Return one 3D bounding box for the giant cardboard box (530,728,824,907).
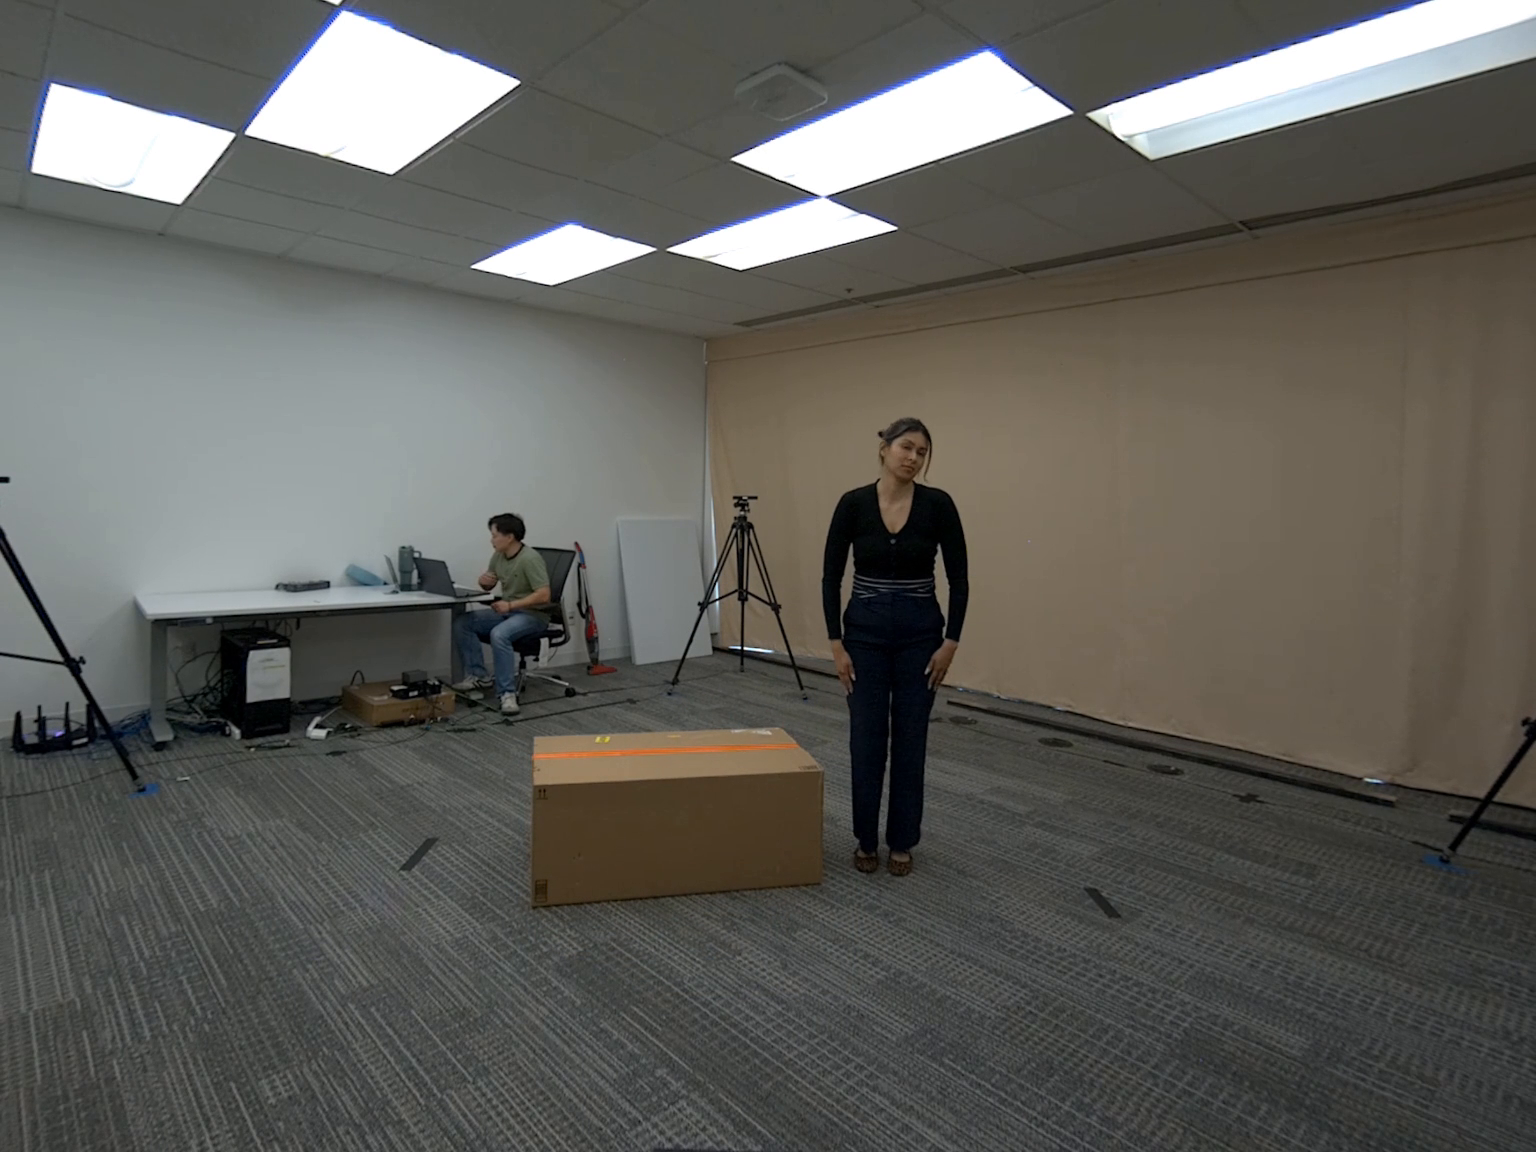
[{"bbox_3d":[-0.373,0.872,3.189,1.015,0.425,0.585,0,4,-14],"label":"giant cardboard box"}]
